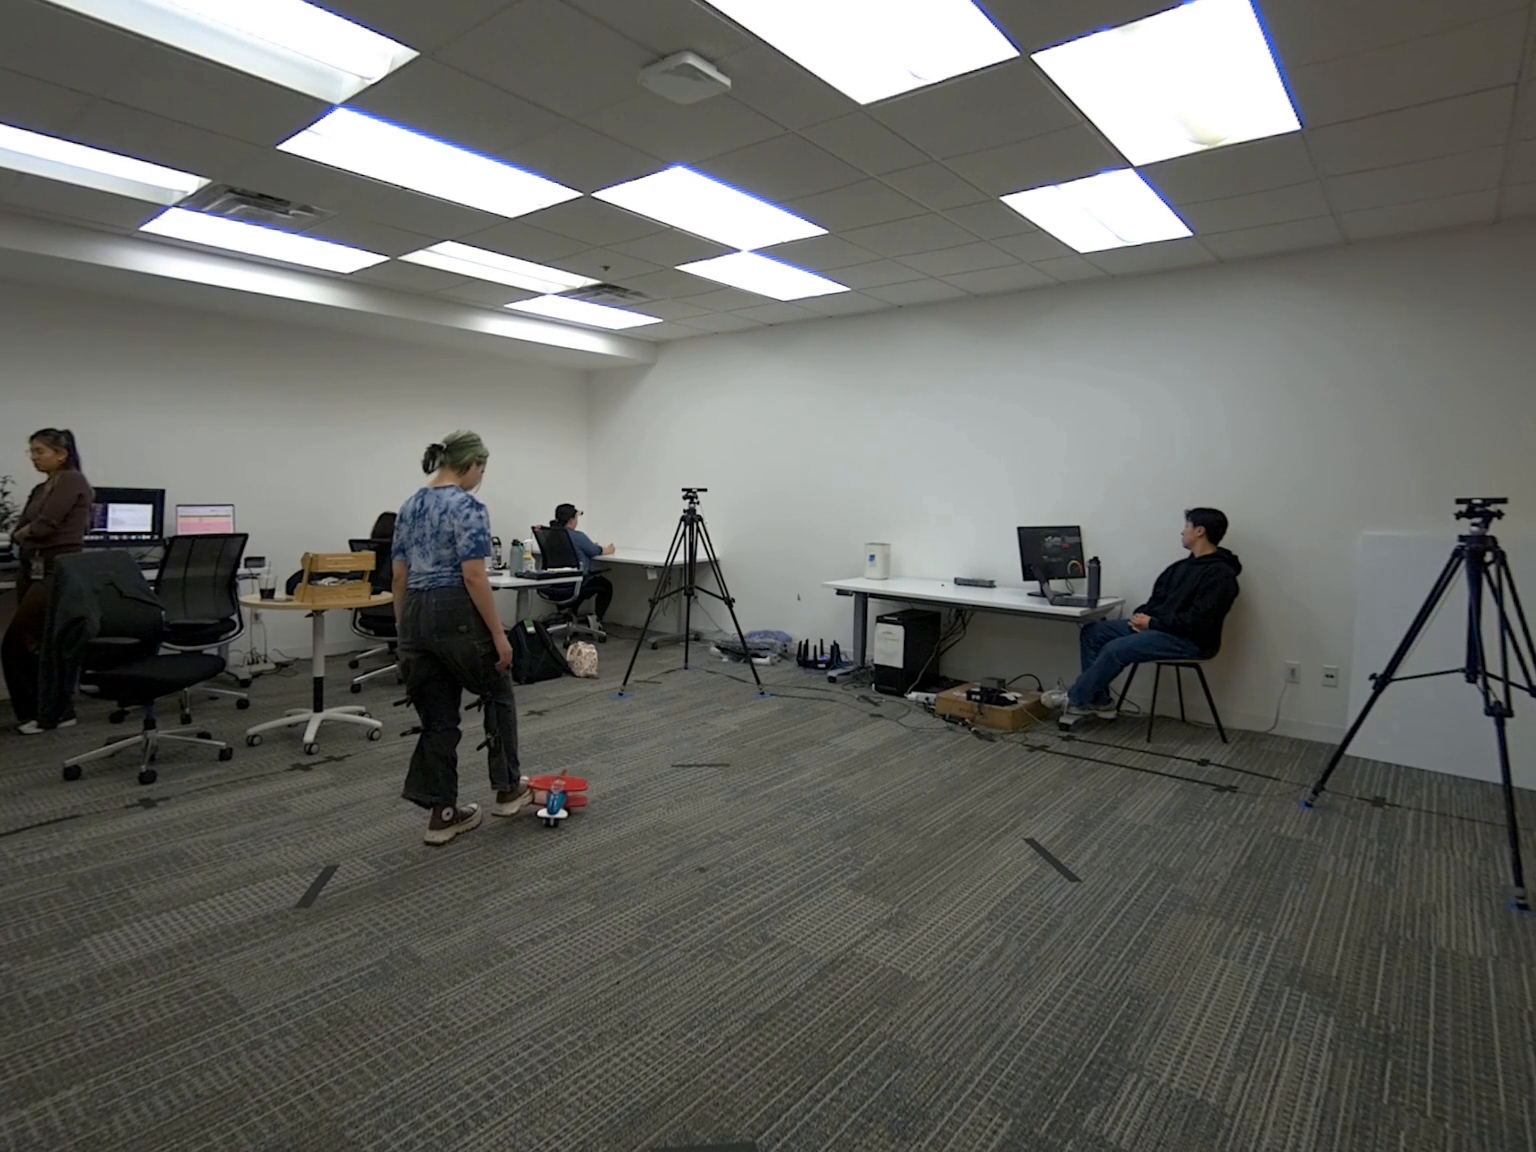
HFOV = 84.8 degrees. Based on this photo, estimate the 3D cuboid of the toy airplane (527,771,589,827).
[{"bbox_3d":[-0.889,0.946,3.574,0.244,0.156,0.268,1,4,-34],"label":"toy airplane"}]
